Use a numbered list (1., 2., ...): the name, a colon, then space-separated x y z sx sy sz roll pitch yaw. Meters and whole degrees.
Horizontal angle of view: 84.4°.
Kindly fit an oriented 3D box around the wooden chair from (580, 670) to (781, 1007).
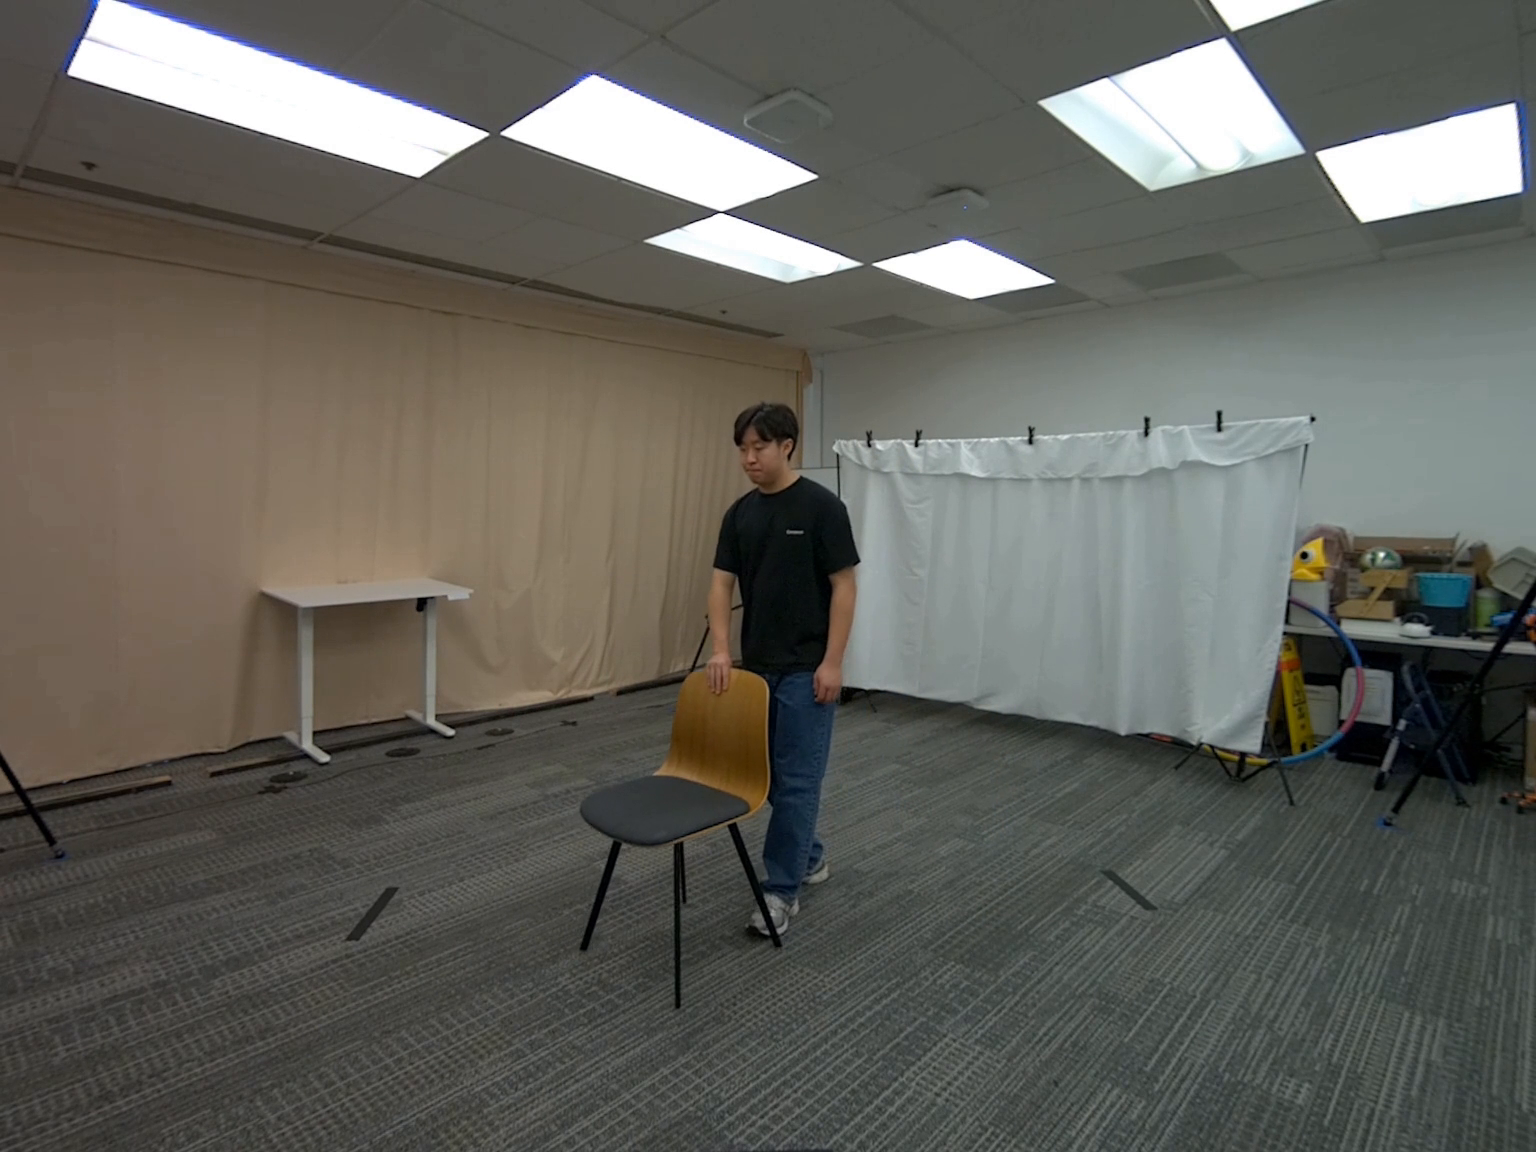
1. wooden chair: -0.285 0.747 2.608 0.494 0.877 0.506 3 1 42
